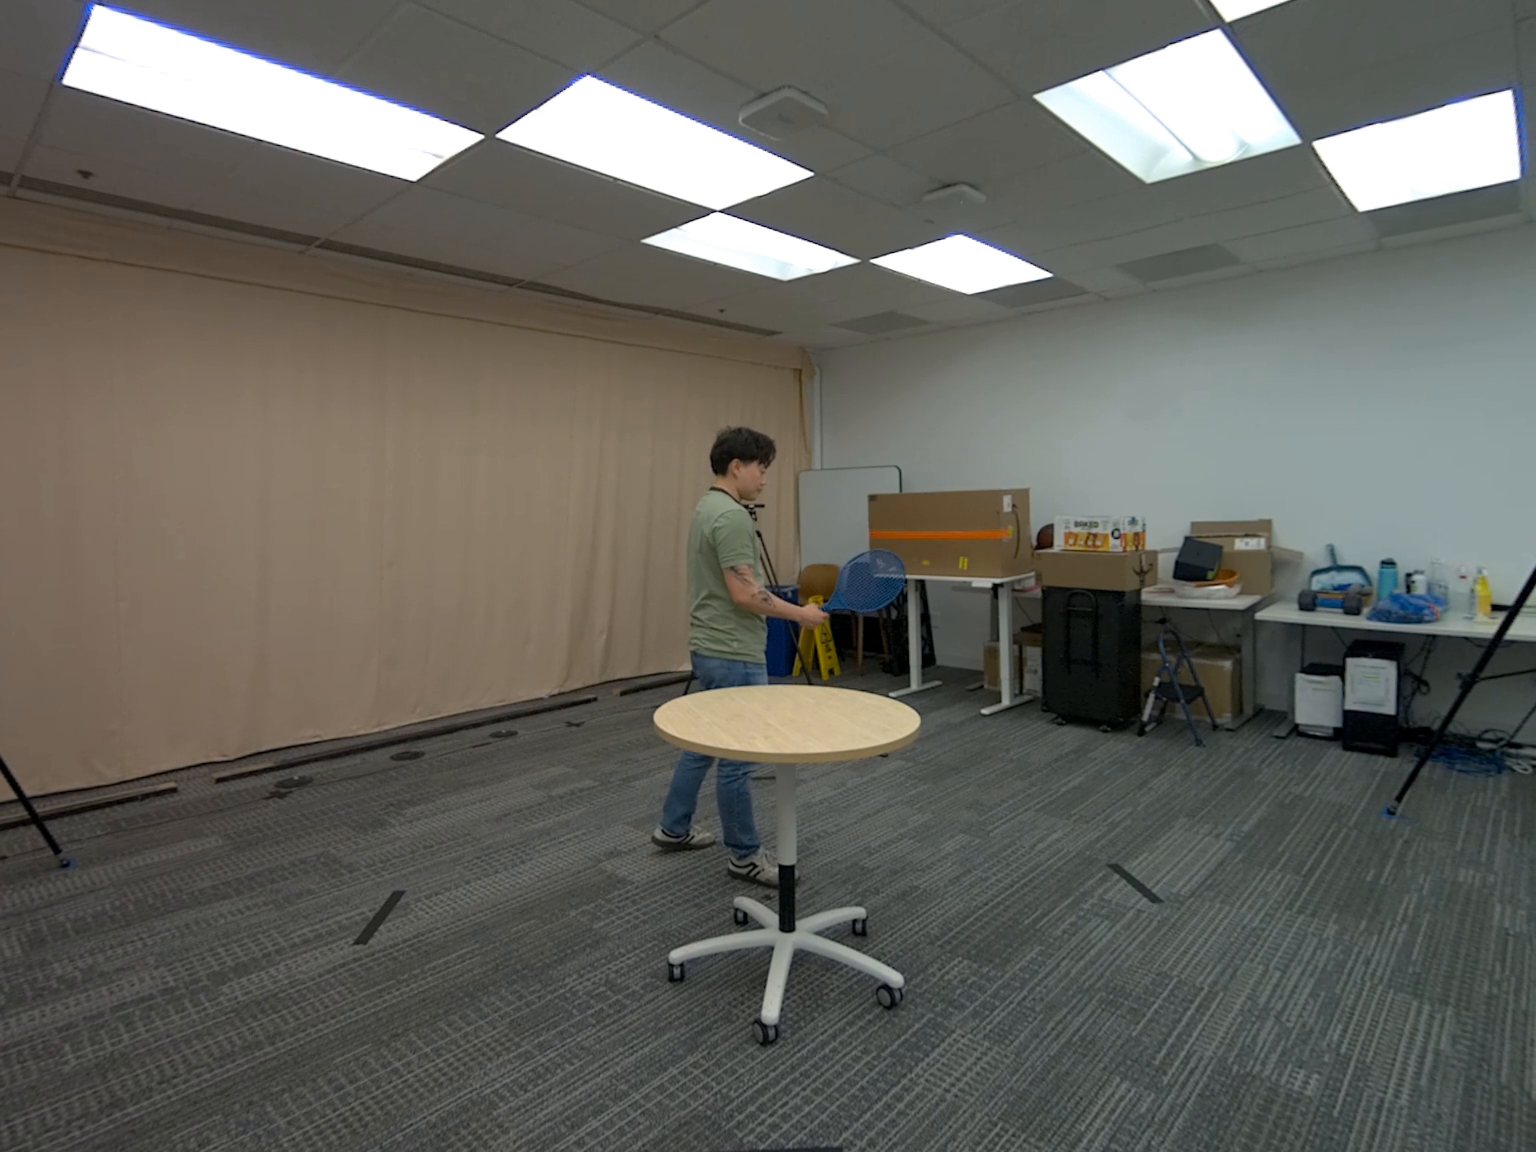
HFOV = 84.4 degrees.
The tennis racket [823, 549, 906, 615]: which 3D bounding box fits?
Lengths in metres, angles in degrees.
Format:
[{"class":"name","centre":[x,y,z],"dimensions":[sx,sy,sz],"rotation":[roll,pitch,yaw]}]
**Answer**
[{"class":"tennis racket","centre":[0.279,0.066,3.076],"dimensions":[0.434,0.213,0.032],"rotation":[-30,3,5]}]
